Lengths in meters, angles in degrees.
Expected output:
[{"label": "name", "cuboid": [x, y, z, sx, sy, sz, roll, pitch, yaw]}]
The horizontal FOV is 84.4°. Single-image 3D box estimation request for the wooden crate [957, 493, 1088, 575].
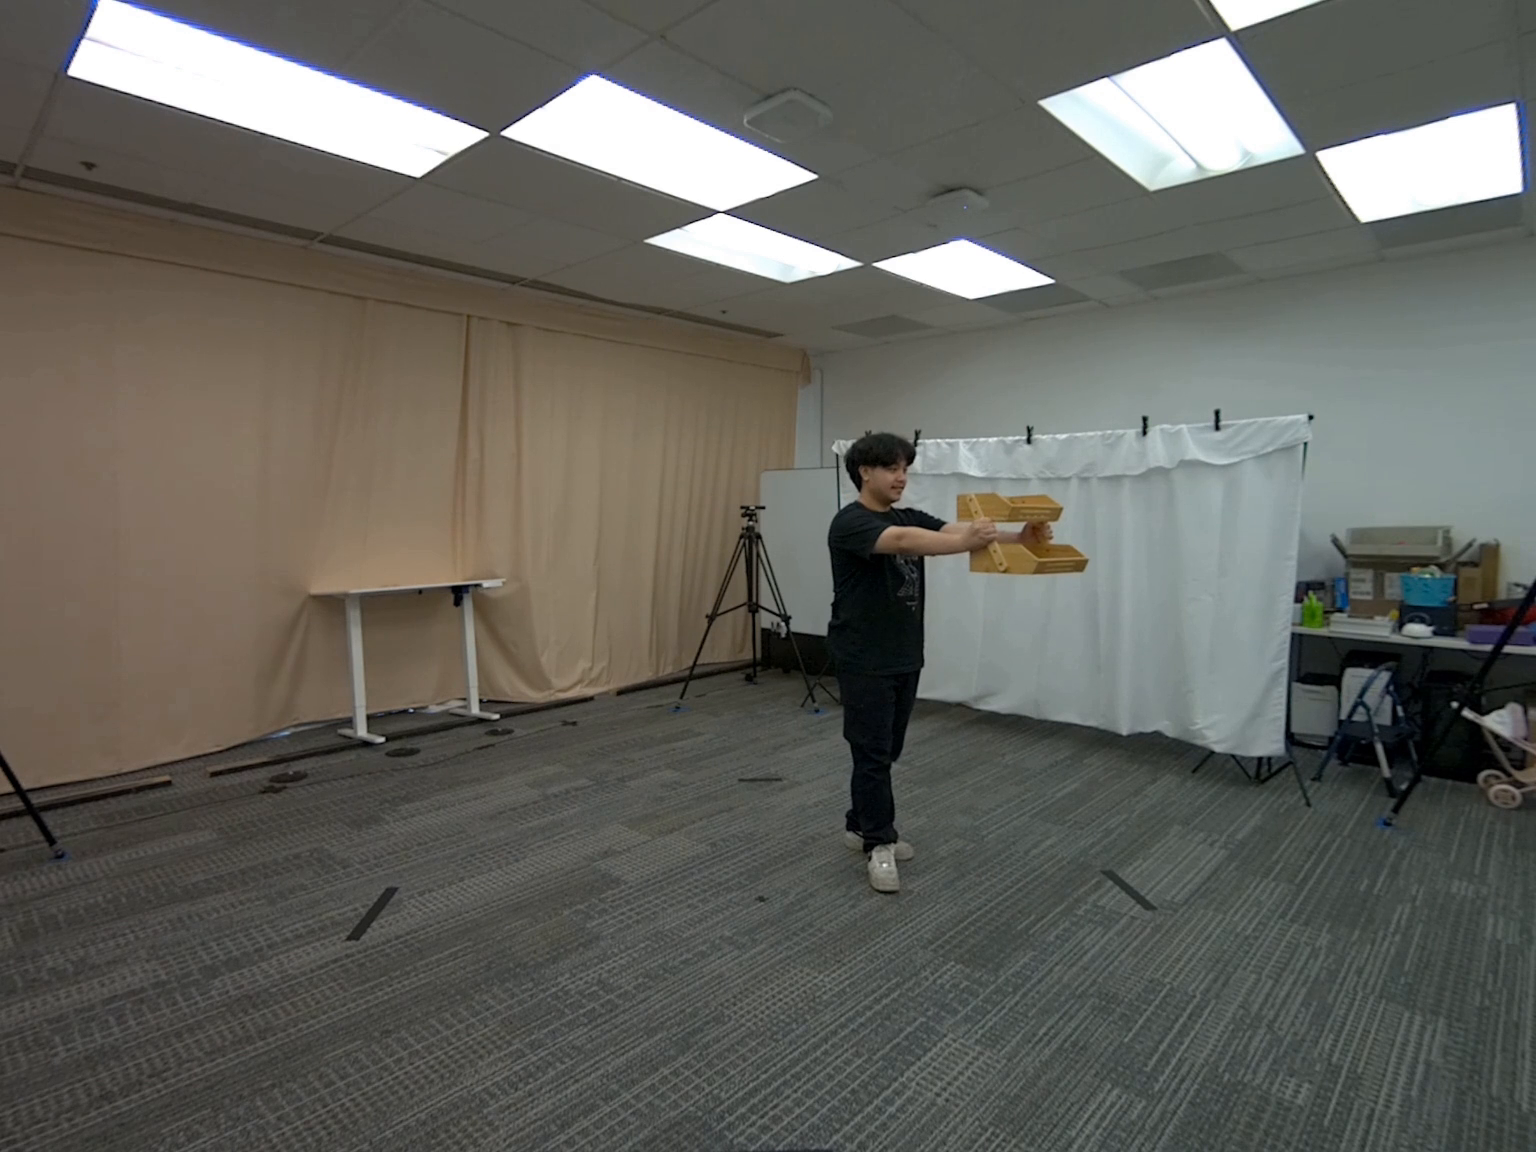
[{"label": "wooden crate", "cuboid": [0.857, -0.142, 2.797, 0.314, 0.273, 0.312, -1, 2, -41]}]
